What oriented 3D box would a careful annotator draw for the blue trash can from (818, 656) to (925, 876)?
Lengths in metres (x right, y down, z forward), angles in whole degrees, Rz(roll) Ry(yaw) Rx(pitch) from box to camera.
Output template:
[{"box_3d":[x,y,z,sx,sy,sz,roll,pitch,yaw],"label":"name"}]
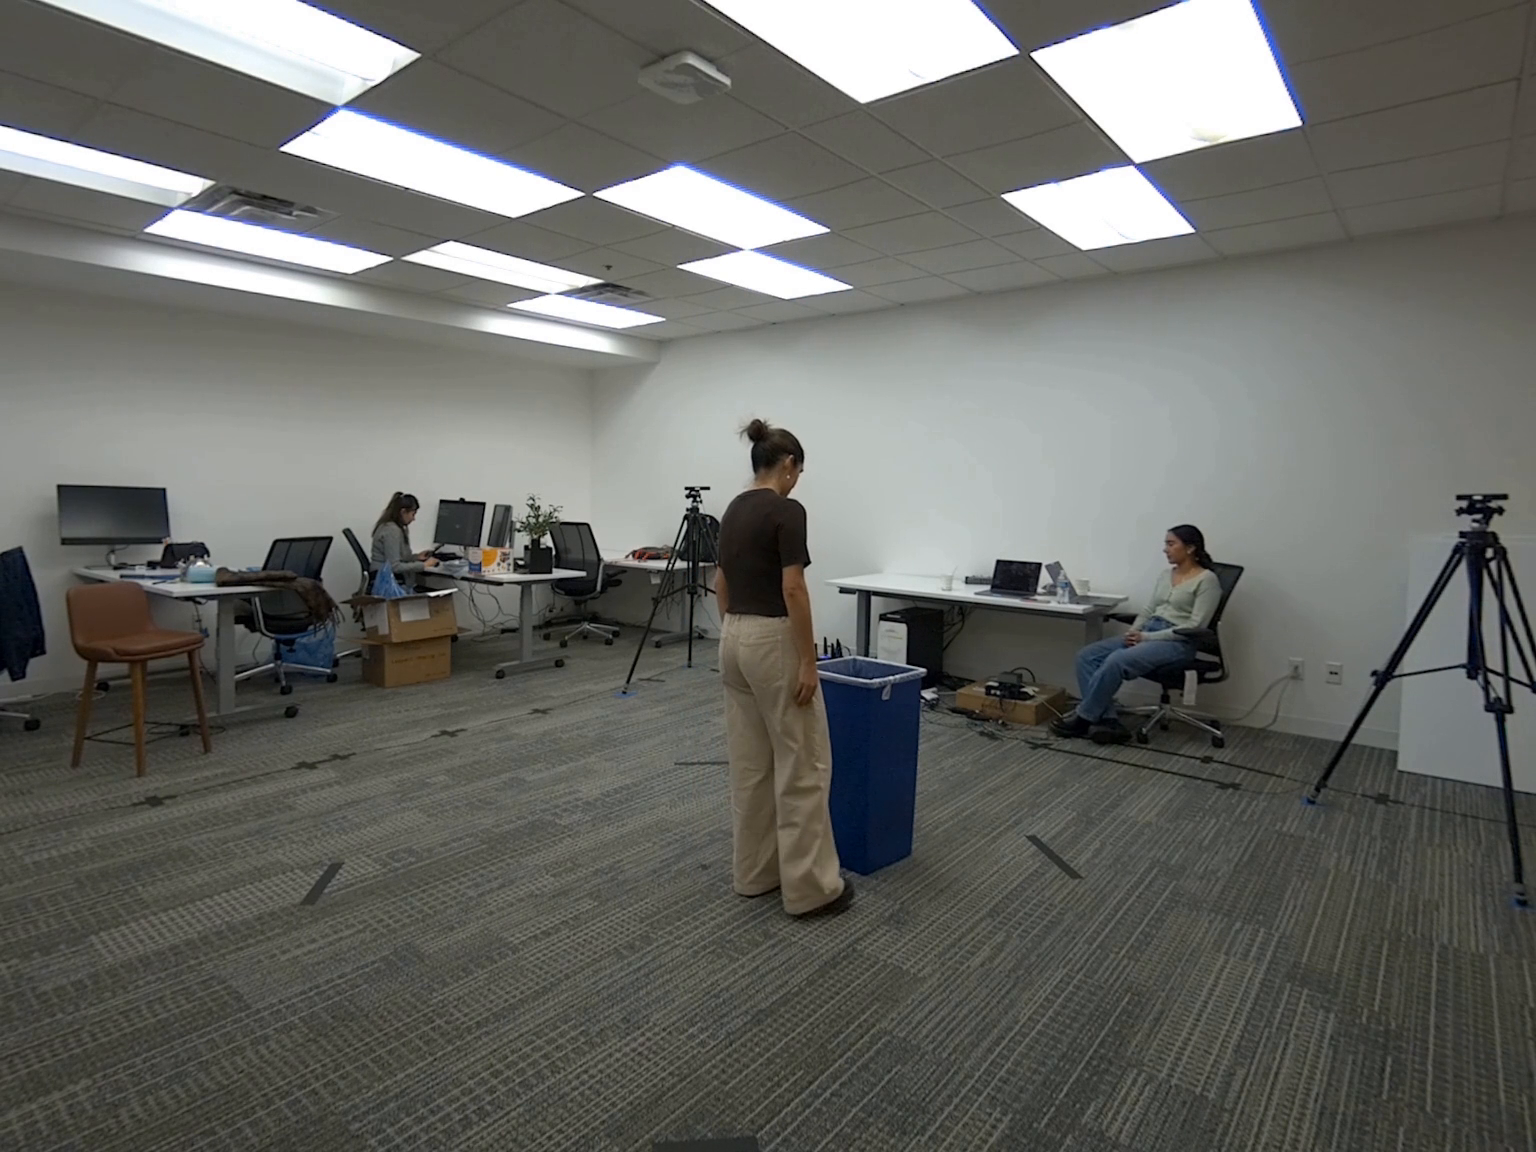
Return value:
[{"box_3d":[0.347,0.701,3.264,0.391,0.712,0.363,4,4,44],"label":"blue trash can"}]
